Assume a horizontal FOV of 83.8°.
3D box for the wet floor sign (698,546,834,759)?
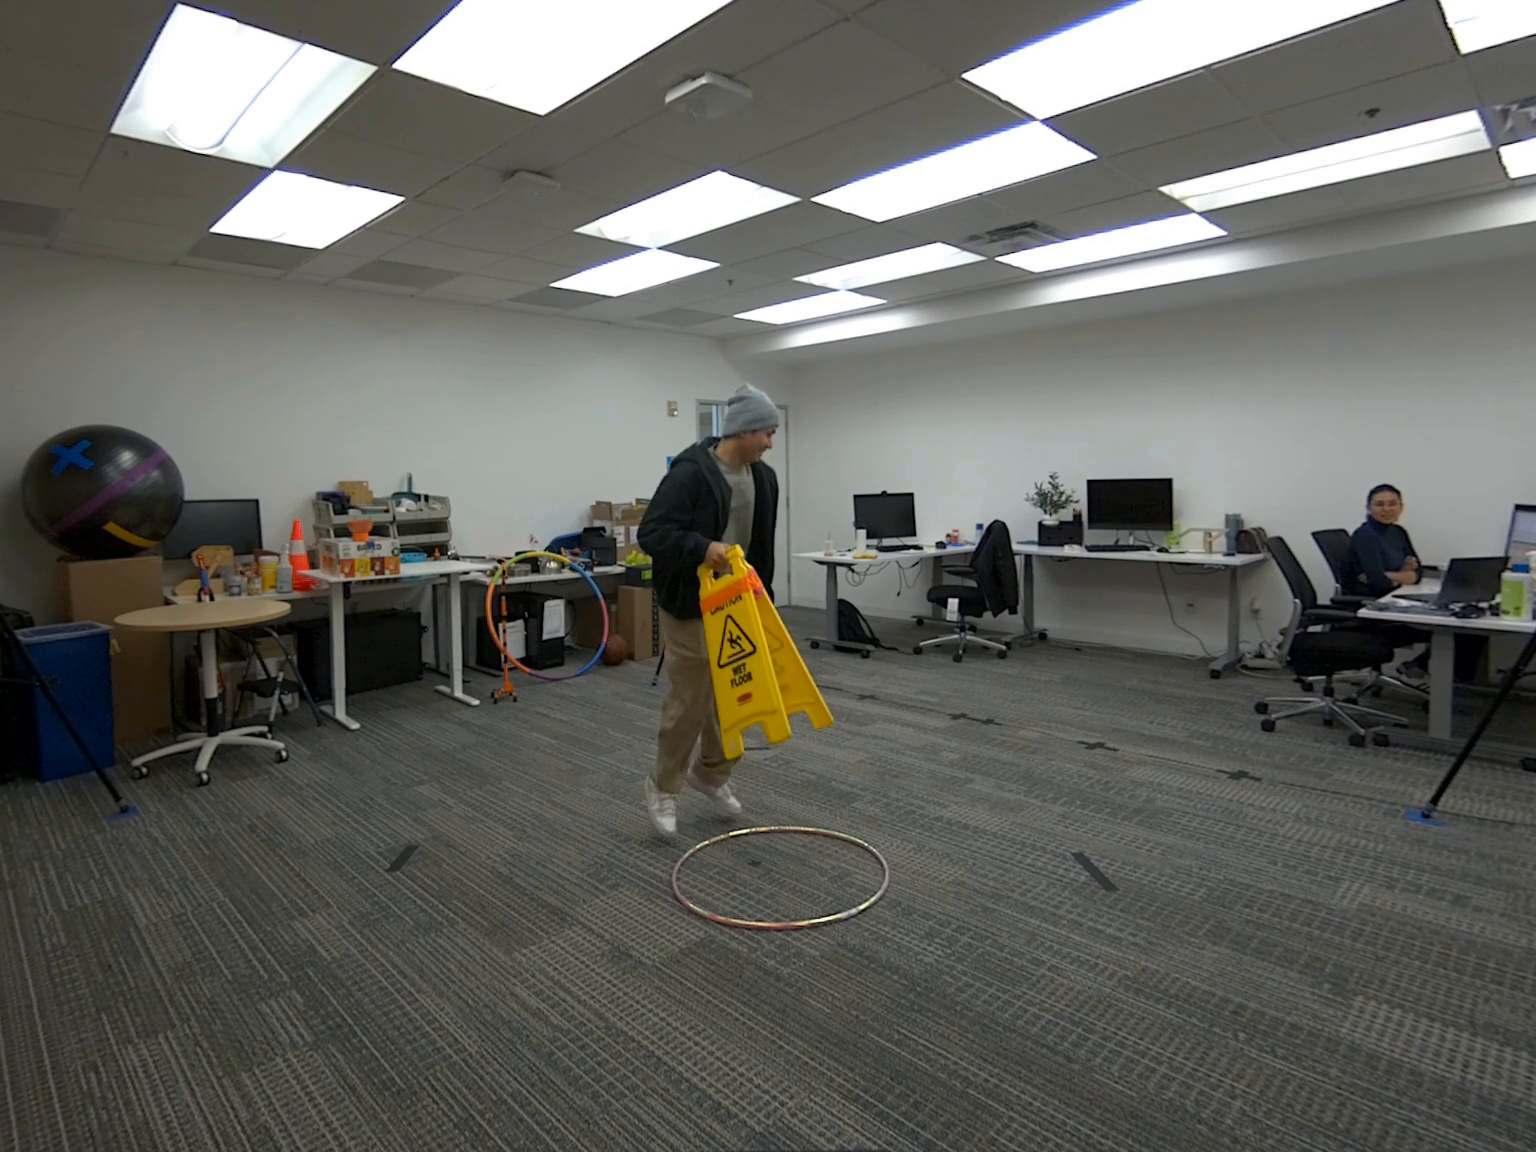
[{"bbox_3d":[-0.060,0.257,2.826,0.285,0.657,0.282,-30,-18,37],"label":"wet floor sign"}]
